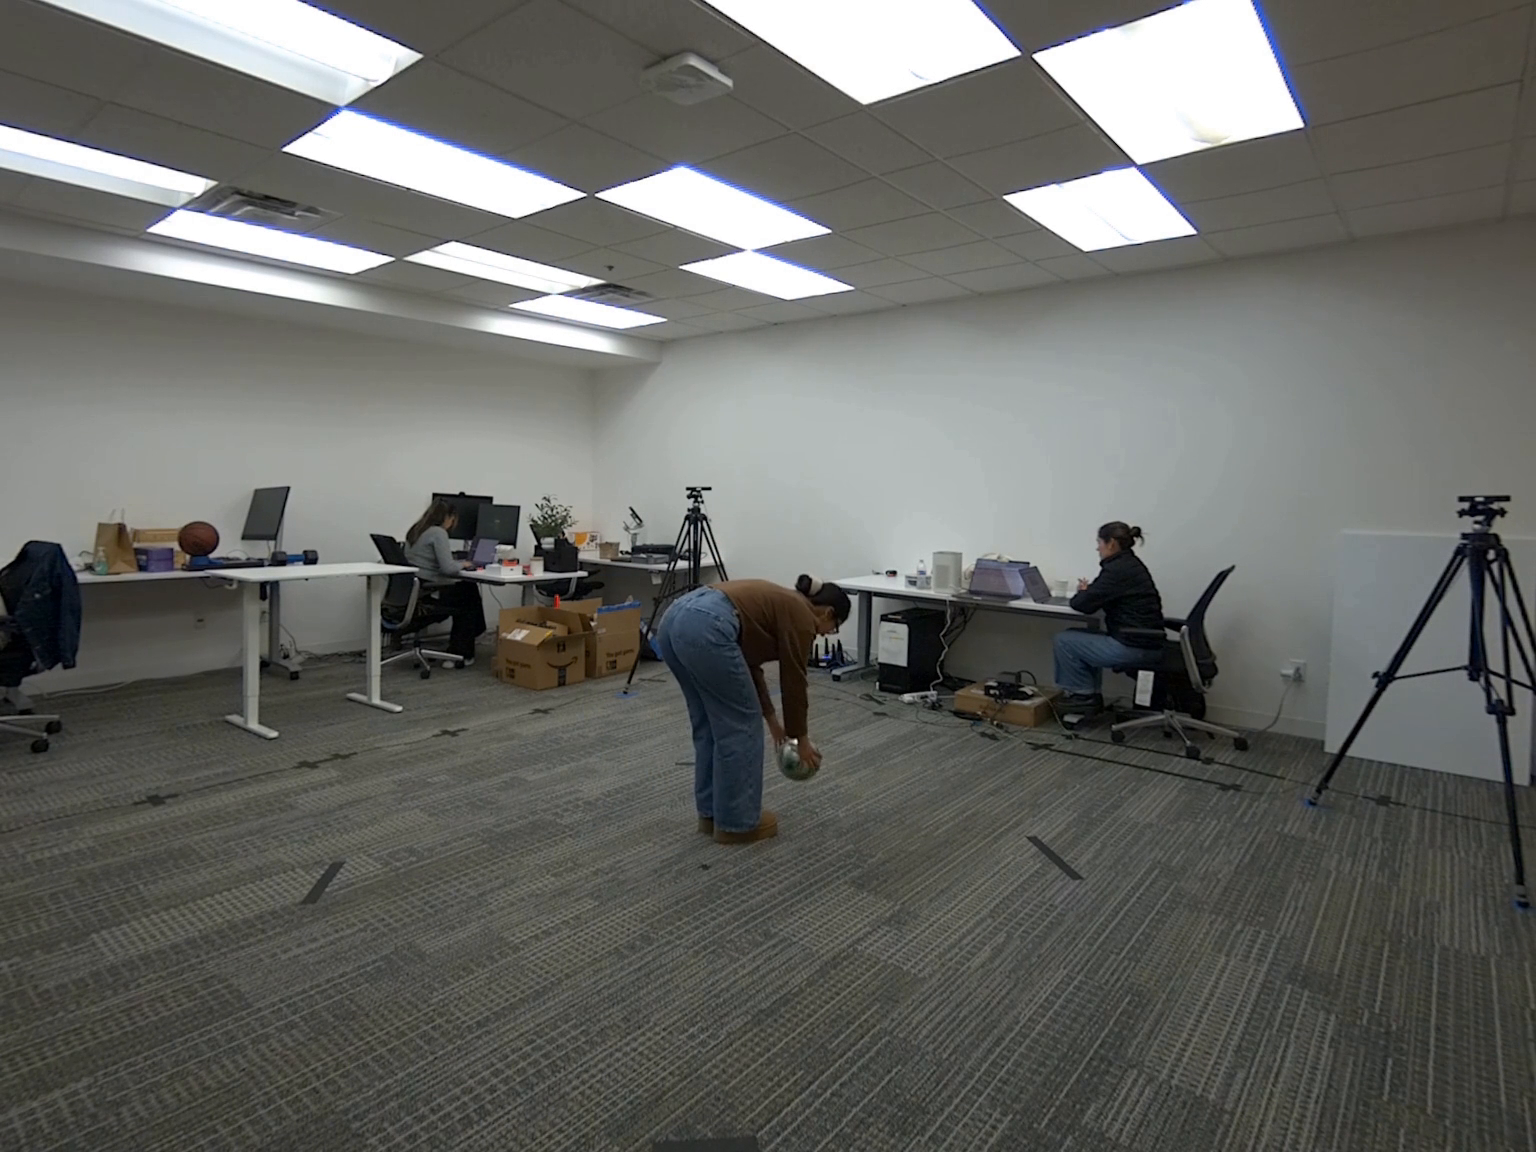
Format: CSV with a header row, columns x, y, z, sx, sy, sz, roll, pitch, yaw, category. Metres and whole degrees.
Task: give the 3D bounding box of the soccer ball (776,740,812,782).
x,y,z,sx,sy,sz,roll,pitch,yaw,category
0.115,0.761,3.620,0.187,0.187,0.188,1,4,-2,soccer ball
